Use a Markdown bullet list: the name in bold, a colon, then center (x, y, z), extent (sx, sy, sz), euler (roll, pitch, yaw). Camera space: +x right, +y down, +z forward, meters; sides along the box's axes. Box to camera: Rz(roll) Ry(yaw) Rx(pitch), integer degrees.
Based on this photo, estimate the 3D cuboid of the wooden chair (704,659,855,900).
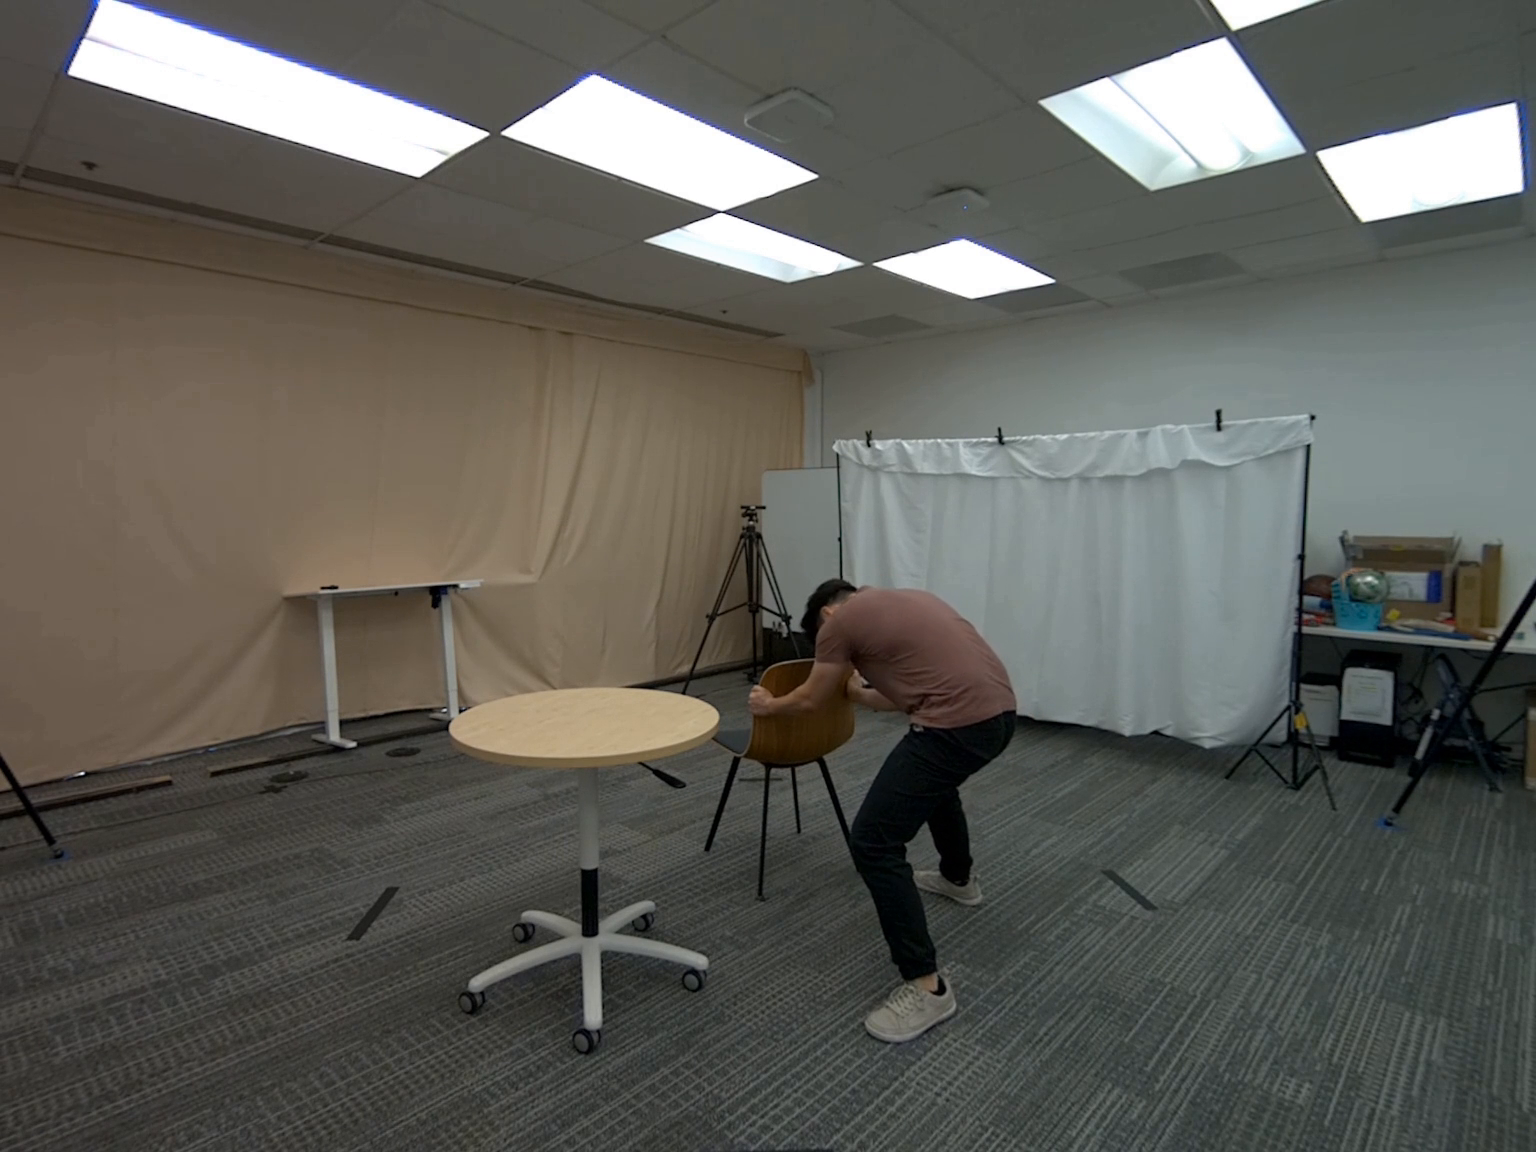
- **wooden chair**: center (0.045, 0.691, 3.273), extent (0.466, 0.874, 0.539), euler (-2, 8, -28)
